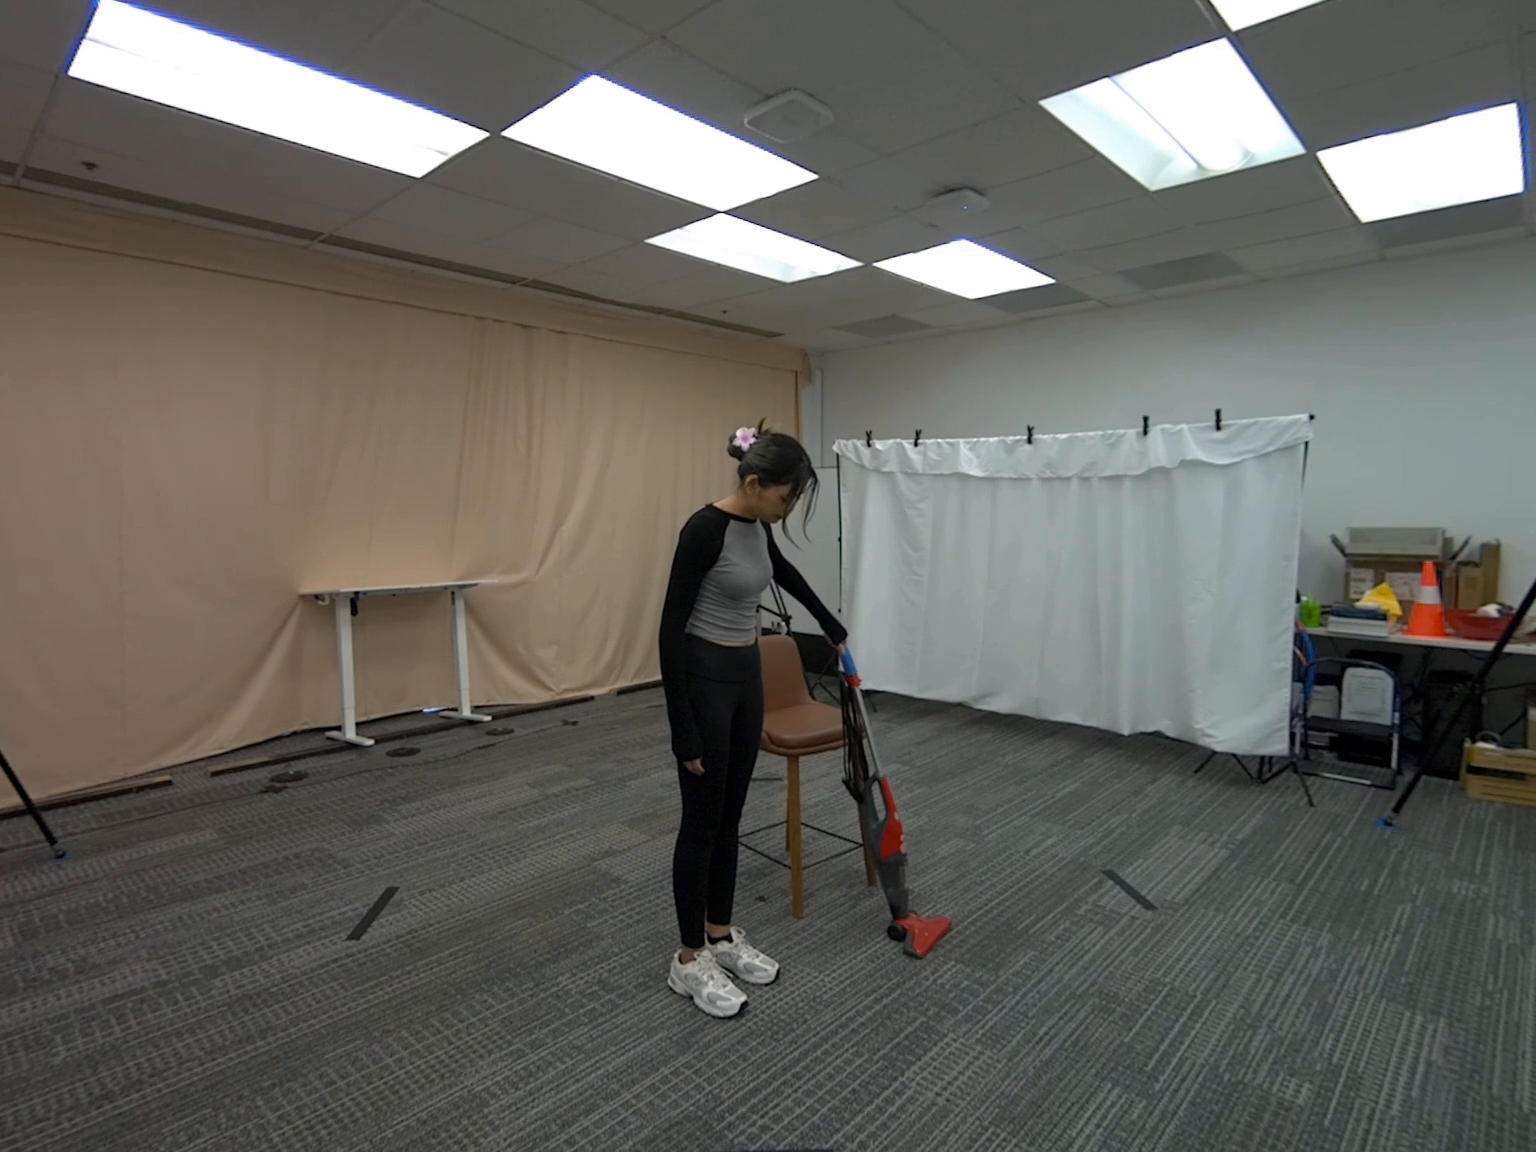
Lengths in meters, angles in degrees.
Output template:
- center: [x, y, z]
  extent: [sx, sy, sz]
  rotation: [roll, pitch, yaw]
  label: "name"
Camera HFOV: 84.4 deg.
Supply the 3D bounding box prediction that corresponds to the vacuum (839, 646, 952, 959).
- center: [0.347, 0.665, 2.763]
  extent: [0.147, 1.055, 0.245]
  rotation: [-21, -7, 41]
  label: "vacuum"
